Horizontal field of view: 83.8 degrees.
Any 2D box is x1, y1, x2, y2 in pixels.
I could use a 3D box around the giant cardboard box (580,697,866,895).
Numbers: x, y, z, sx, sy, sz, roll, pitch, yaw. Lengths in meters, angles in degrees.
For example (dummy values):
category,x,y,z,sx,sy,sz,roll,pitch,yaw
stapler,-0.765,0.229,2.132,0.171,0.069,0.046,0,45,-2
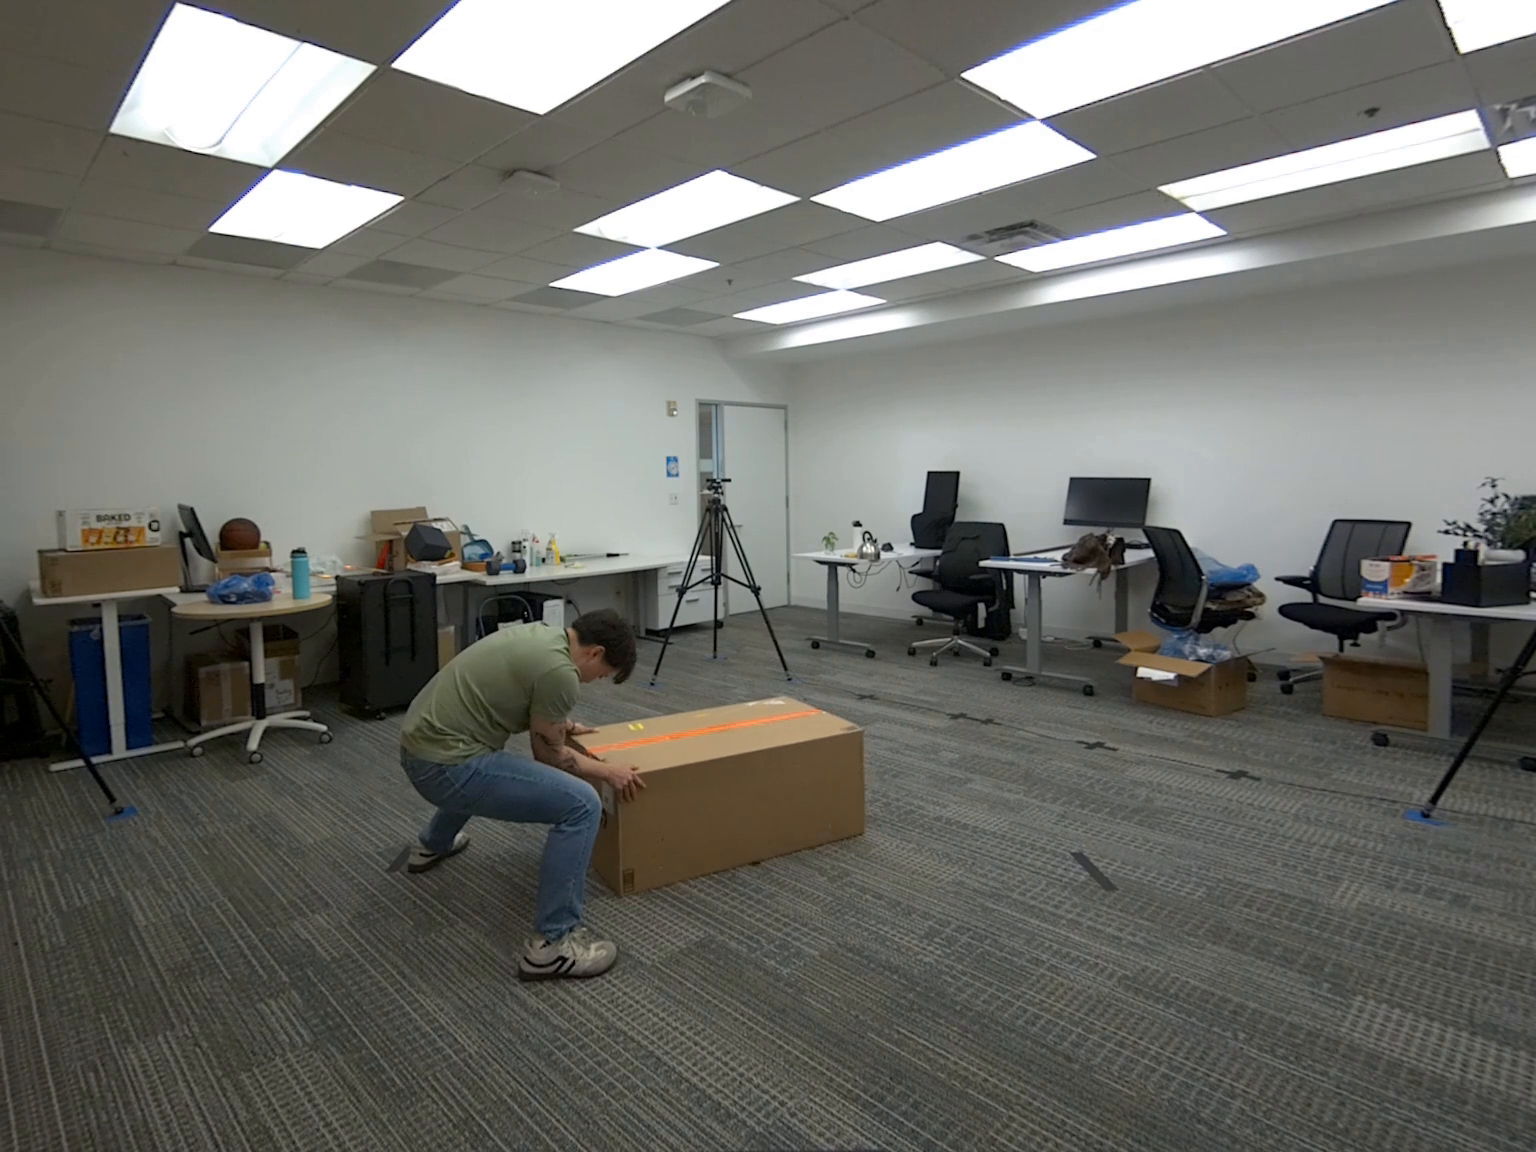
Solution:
category,x,y,z,sx,sy,sz,roll,pitch,yaw
giant cardboard box,-0.199,0.807,3.328,1.003,0.424,0.593,-5,7,-29
